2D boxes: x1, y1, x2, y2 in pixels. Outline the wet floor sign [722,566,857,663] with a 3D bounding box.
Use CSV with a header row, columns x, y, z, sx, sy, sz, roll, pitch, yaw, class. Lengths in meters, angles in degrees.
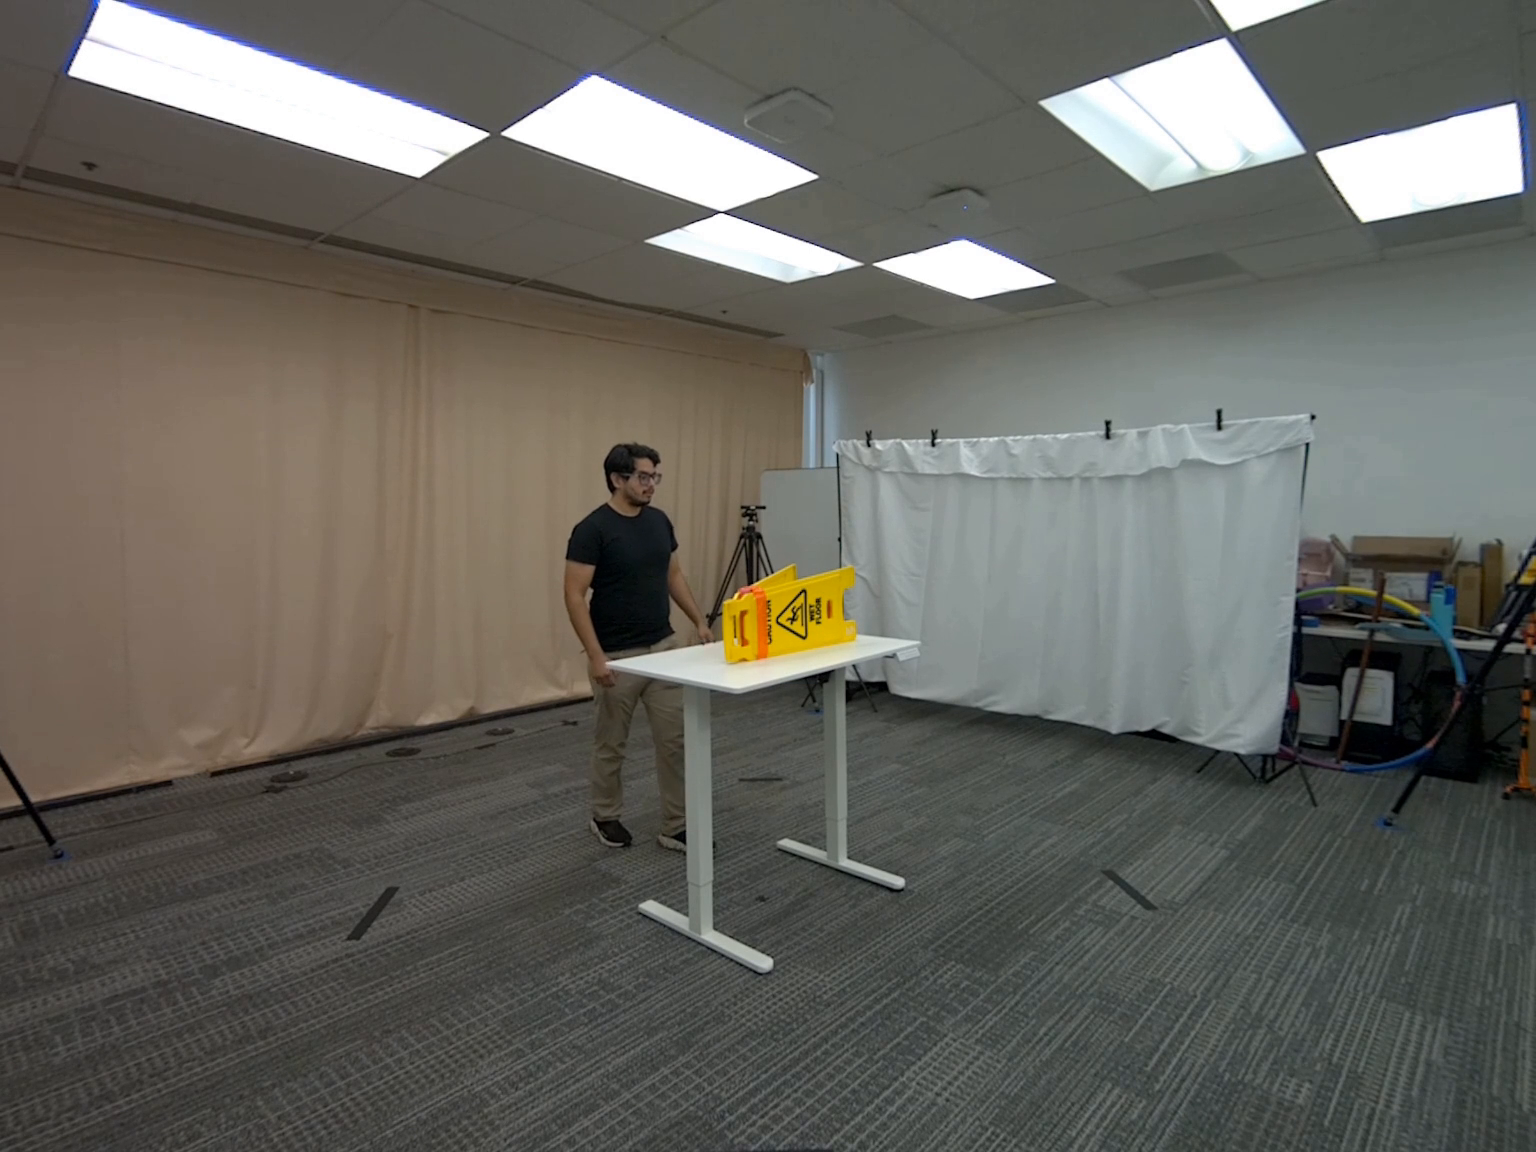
x,y,z,sx,sy,sz,roll,pitch,yaw,class
0.049,0.140,2.953,0.299,0.281,0.629,2,8,34,wet floor sign
